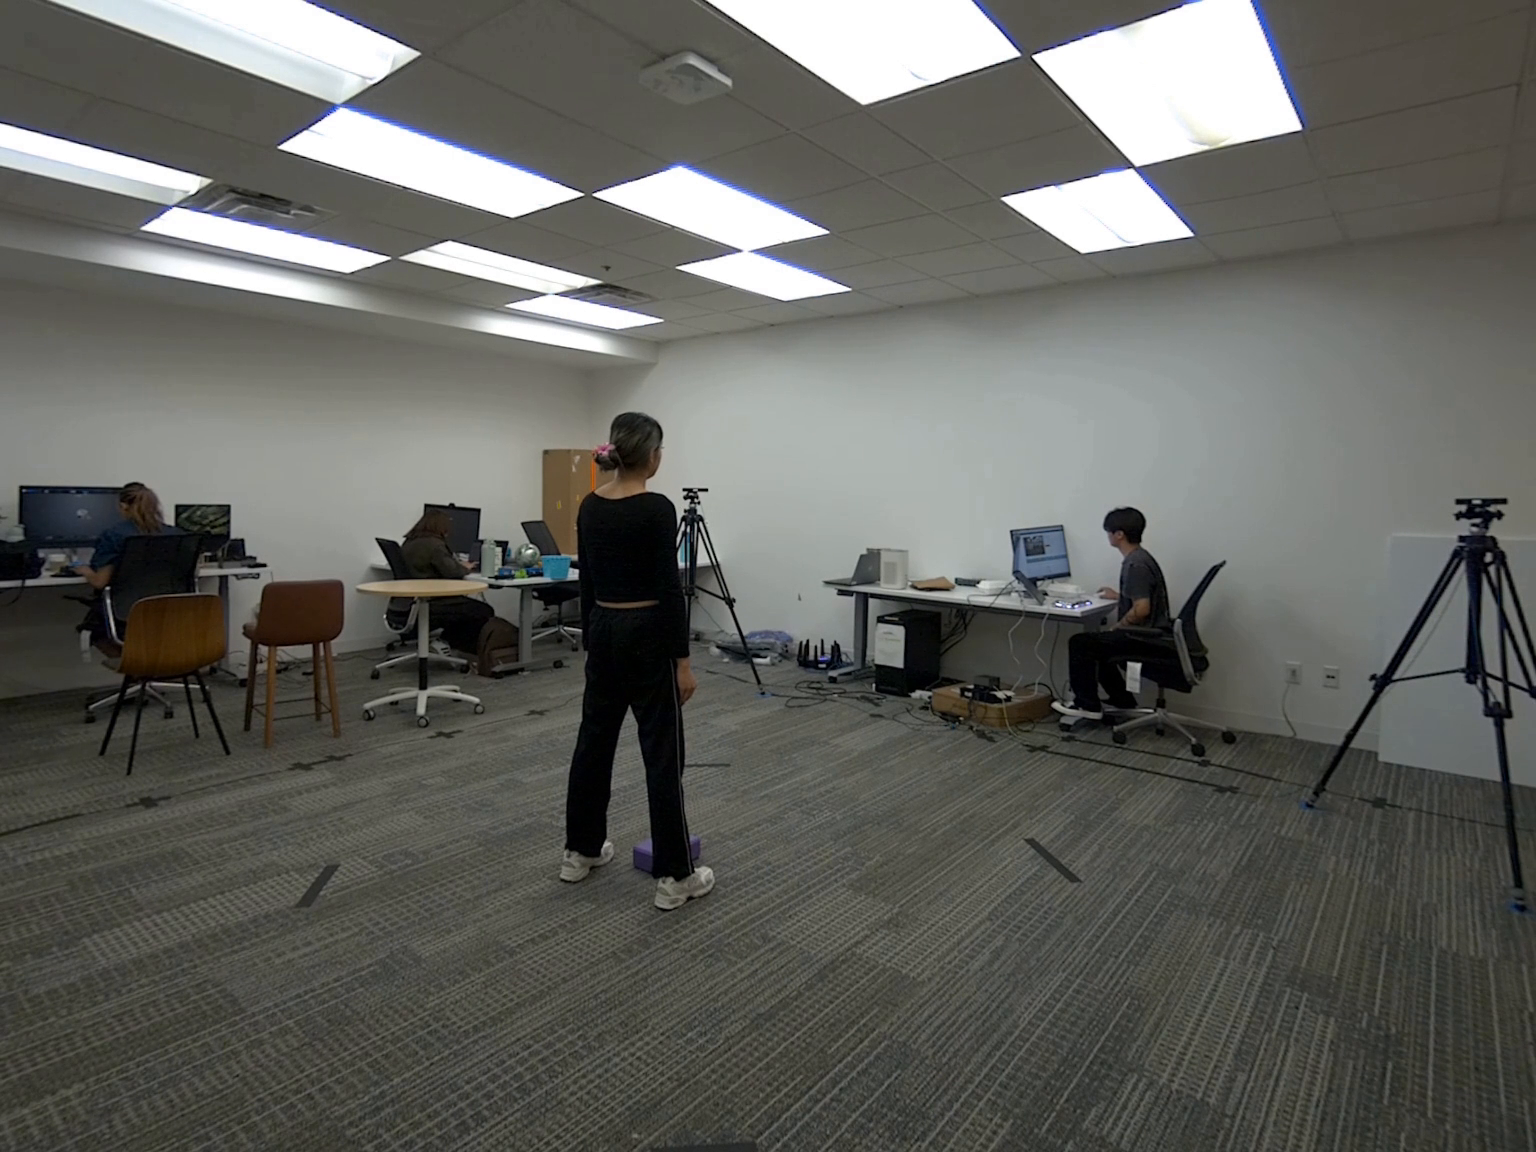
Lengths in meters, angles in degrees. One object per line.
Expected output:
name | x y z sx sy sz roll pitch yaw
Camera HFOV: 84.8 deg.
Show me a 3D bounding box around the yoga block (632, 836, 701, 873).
yoga block | -0.383 1.019 3.162 0.153 0.076 0.223 3 5 34
